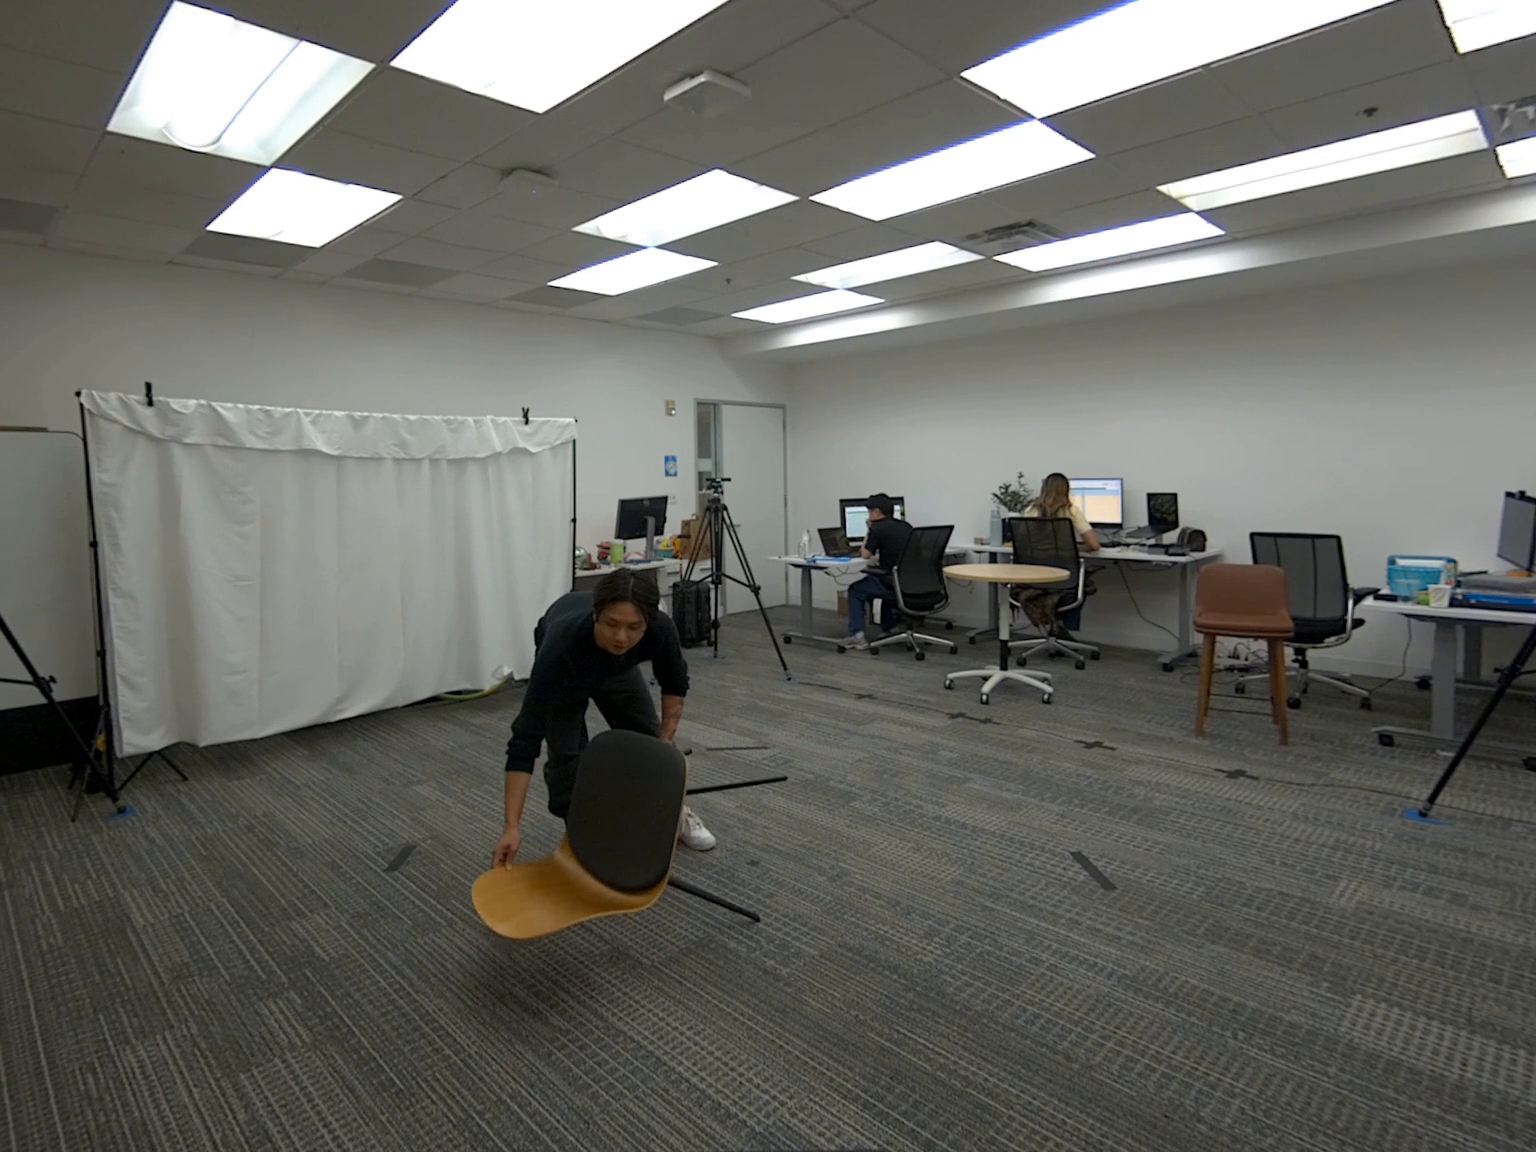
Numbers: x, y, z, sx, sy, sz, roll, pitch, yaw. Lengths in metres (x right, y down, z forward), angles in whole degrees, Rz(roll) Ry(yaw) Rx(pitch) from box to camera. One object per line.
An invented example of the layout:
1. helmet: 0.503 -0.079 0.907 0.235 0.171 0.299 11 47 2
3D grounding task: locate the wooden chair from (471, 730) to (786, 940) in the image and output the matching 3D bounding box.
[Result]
1. wooden chair: -0.412 0.750 2.589 0.493 0.525 0.847 4 -7 42
